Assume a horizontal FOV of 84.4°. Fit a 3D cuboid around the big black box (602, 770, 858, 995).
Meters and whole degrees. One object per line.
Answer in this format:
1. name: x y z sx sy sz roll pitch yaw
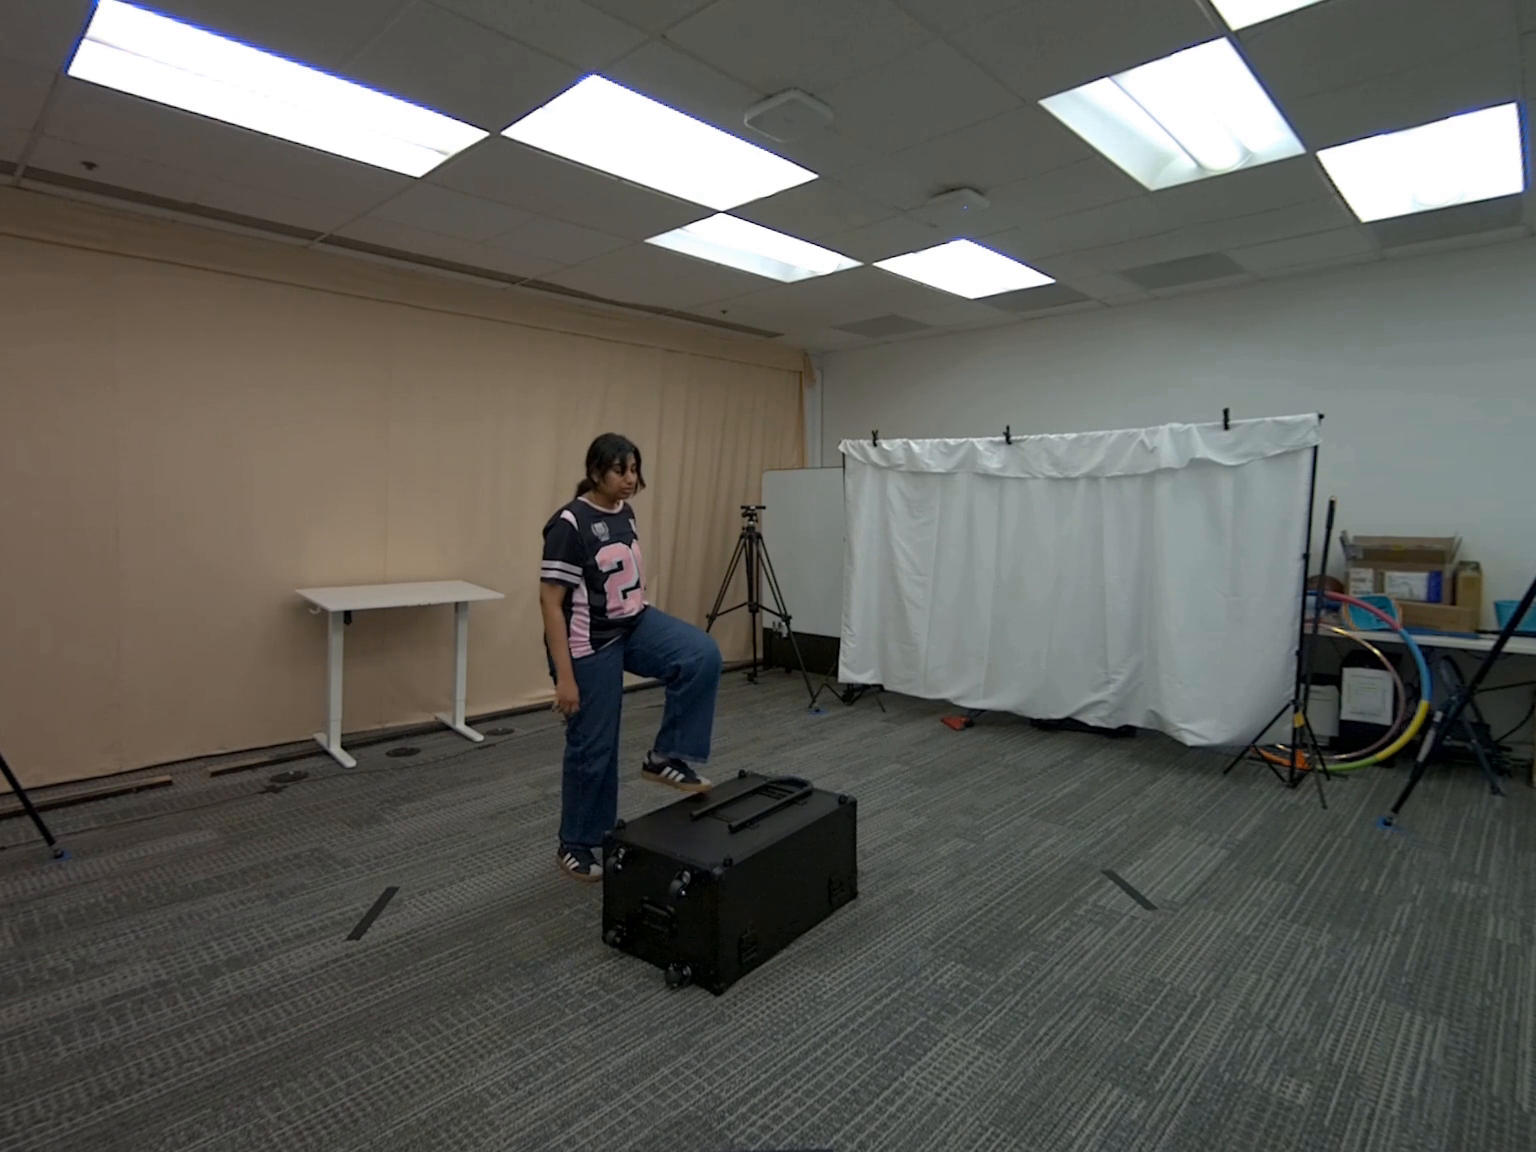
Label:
1. big black box: -0.118 0.976 2.795 0.541 0.384 0.843 5 7 37
